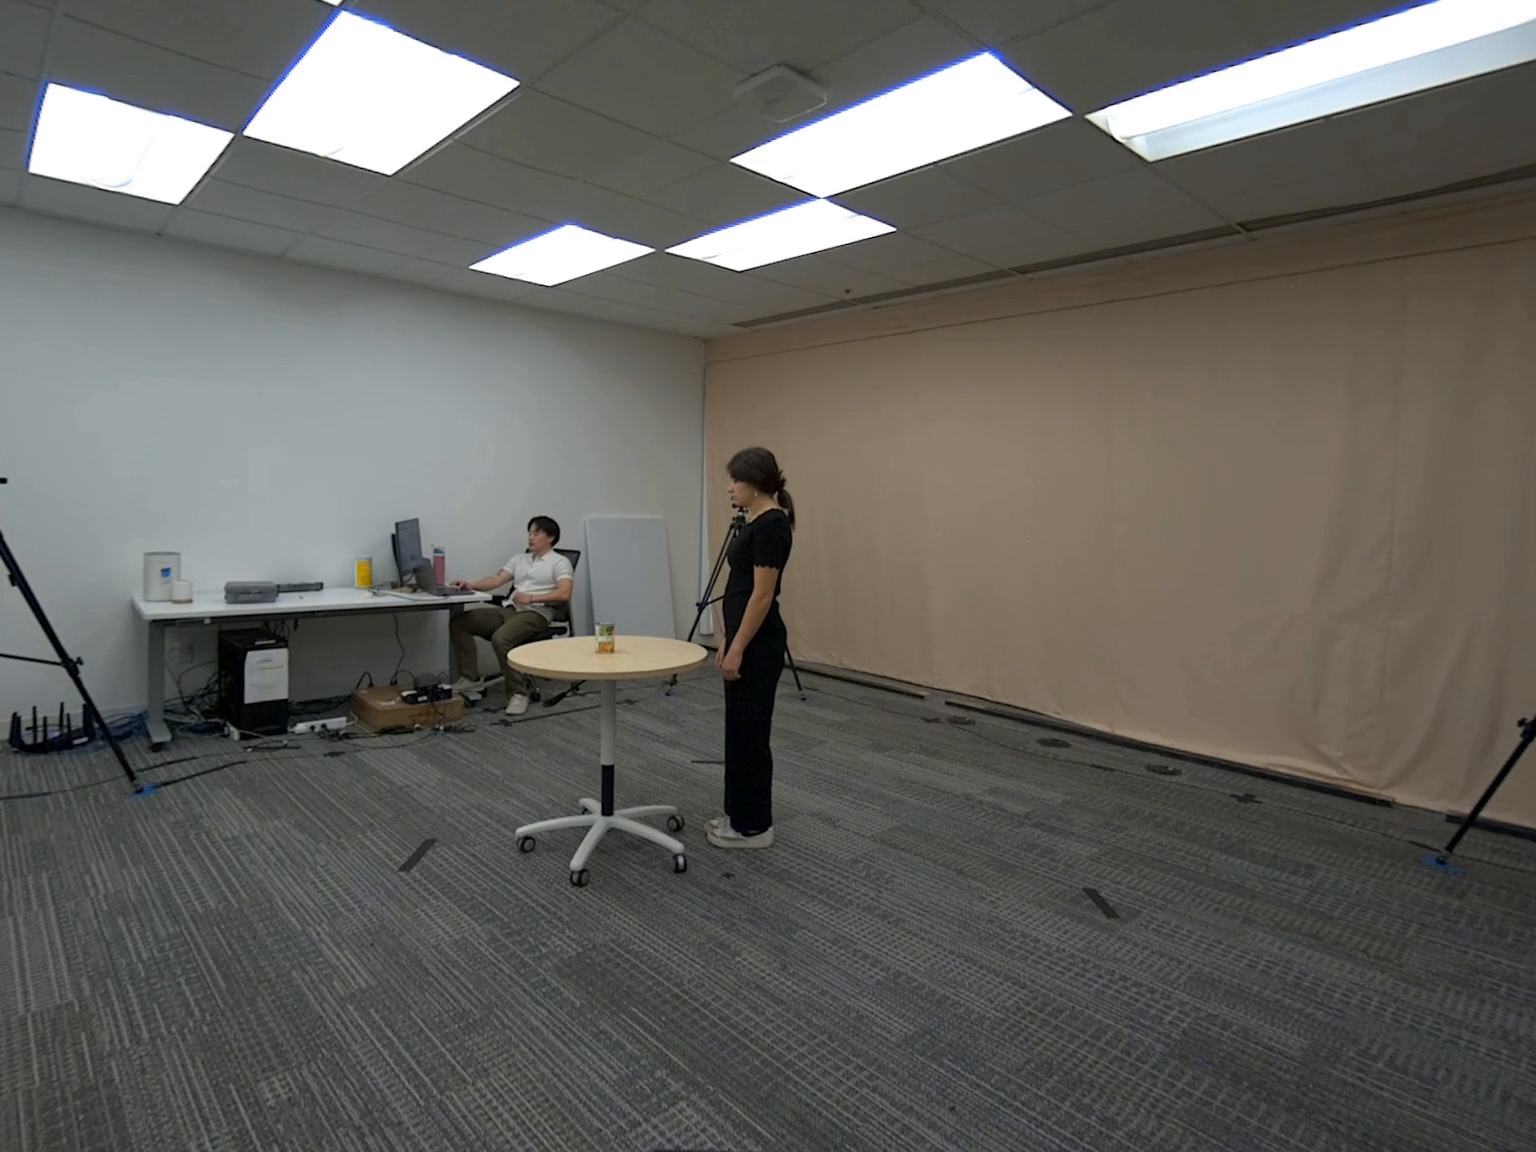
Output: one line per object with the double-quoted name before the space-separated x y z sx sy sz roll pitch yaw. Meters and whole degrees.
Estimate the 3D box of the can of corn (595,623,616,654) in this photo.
"can of corn" -0.639 0.243 3.260 0.074 0.111 0.074 0 1 -1
